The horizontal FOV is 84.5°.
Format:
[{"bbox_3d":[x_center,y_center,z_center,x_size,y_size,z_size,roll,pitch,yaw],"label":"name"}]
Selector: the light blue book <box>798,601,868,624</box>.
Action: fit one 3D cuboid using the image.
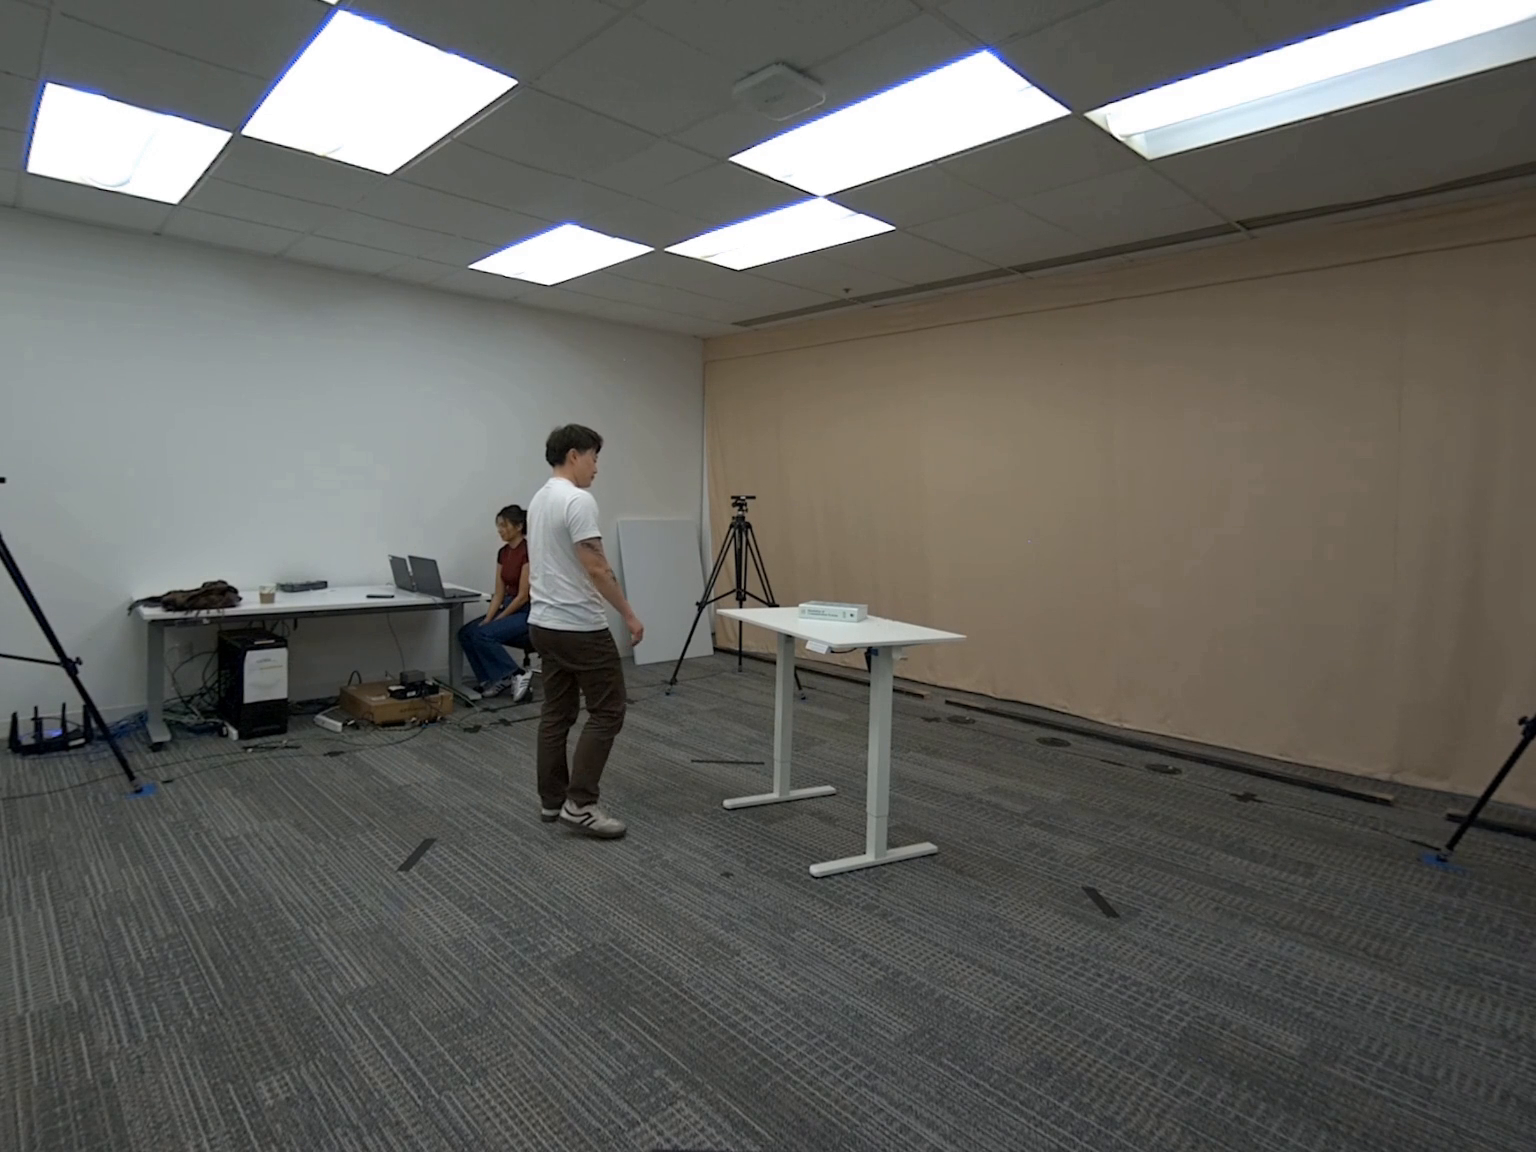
[{"bbox_3d":[0.268,0.153,3.689,0.265,0.059,0.189,3,5,18],"label":"light blue book"}]
